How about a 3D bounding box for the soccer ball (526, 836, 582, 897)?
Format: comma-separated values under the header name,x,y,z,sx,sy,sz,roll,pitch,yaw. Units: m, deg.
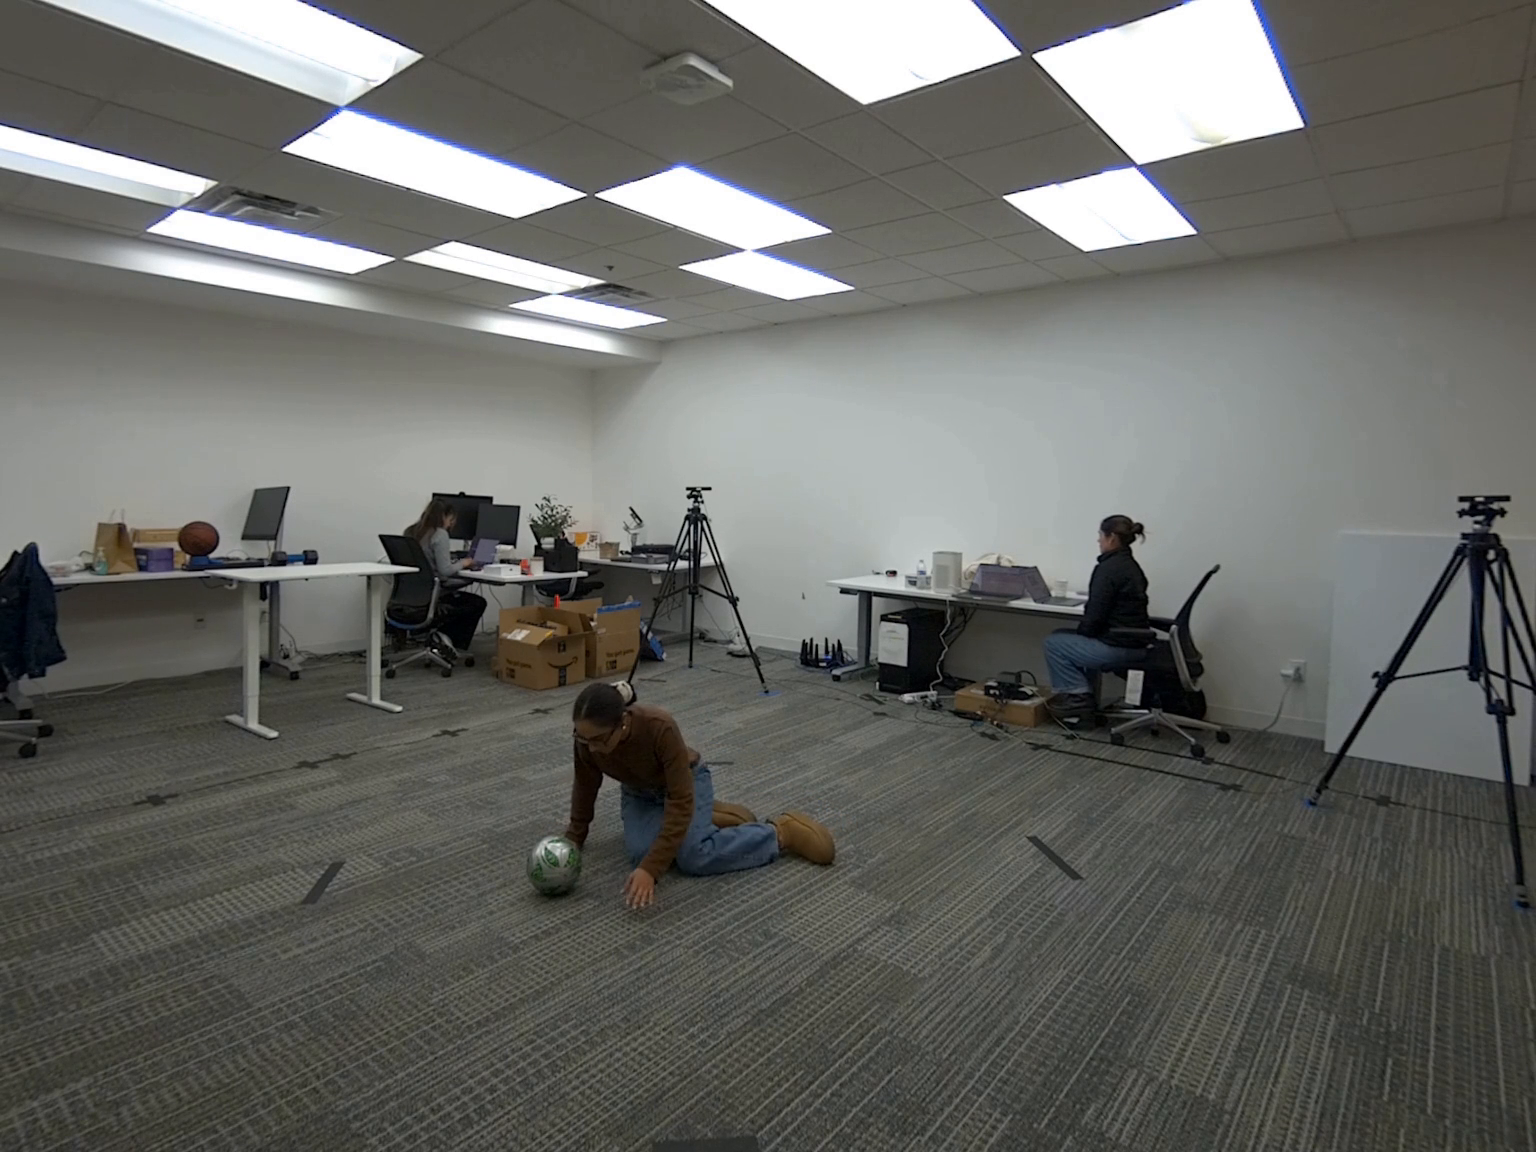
name,x,y,z,sx,sy,sz,roll,pitch,yaw
soccer ball,-0.747,0.988,2.914,0.187,0.187,0.188,1,4,-2
